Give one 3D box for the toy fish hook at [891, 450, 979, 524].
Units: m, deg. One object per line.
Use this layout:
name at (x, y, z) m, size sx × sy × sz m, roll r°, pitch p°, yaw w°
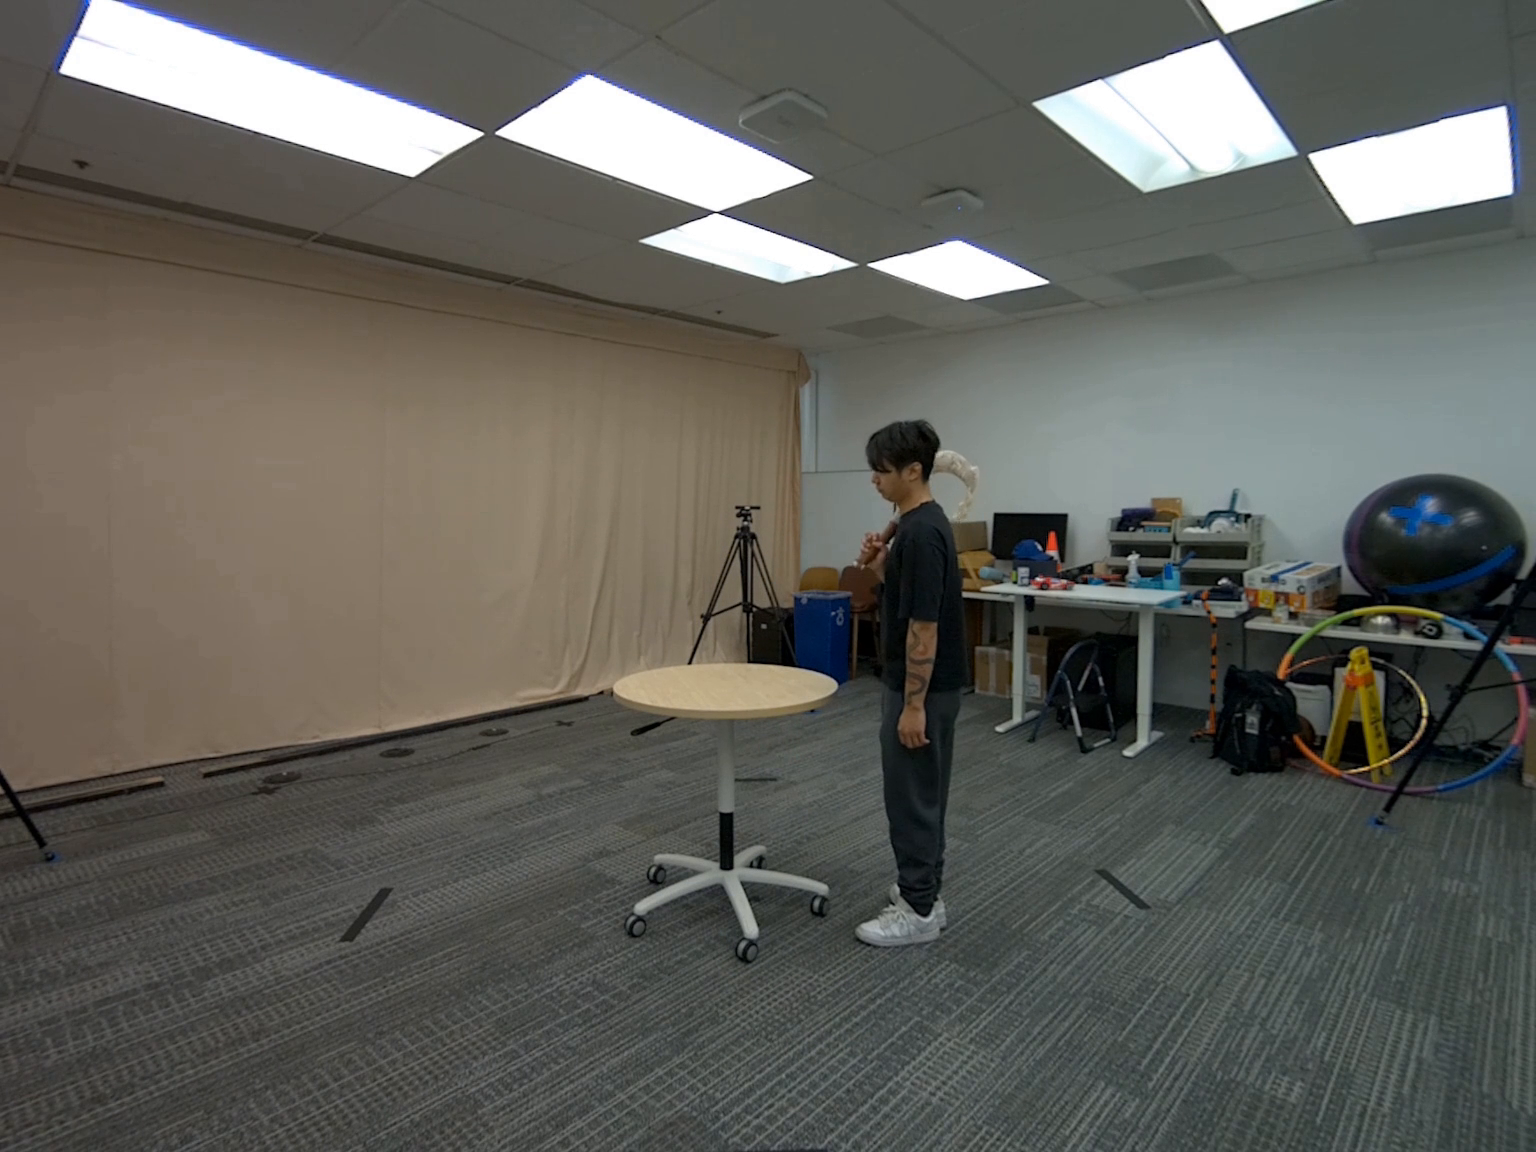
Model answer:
toy fish hook at (0.498, -0.193, 2.788) m, size 0.230 × 0.507 × 0.047 m, roll 42°, pitch 5°, yaw 23°
